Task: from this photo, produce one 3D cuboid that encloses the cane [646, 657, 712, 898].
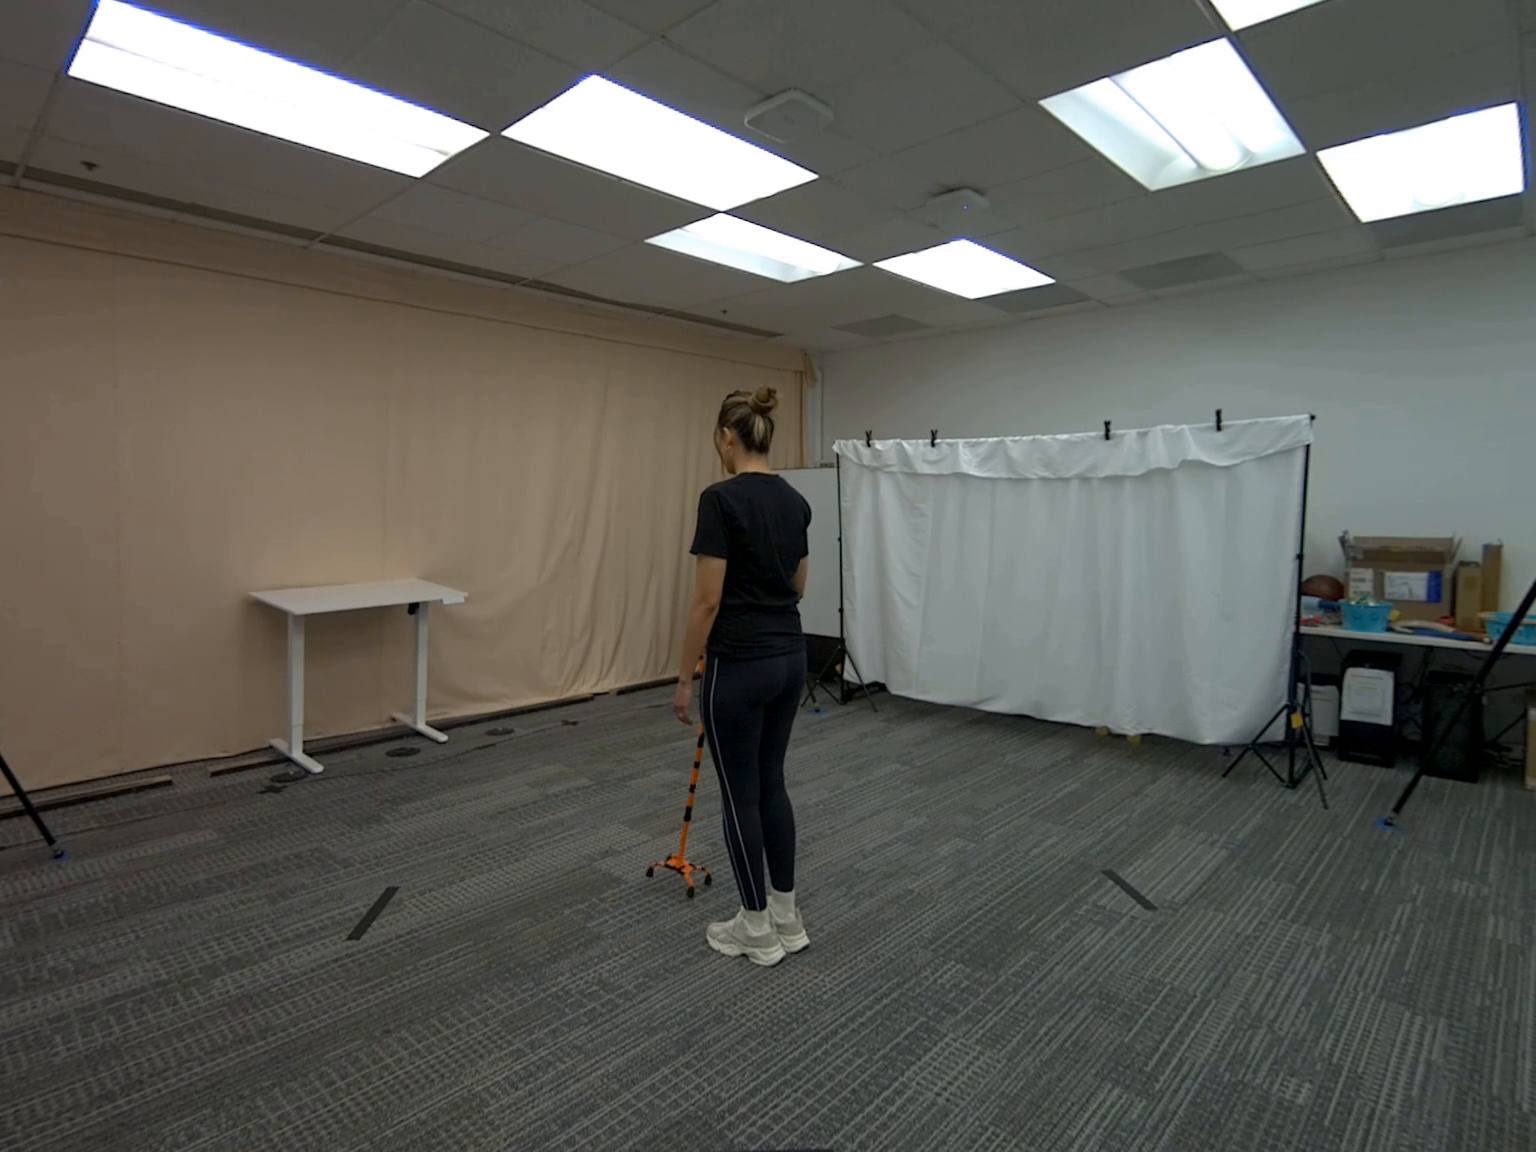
[{"bbox_3d":[-0.240,0.670,3.011,0.212,0.905,0.148,12,7,25],"label":"cane"}]
